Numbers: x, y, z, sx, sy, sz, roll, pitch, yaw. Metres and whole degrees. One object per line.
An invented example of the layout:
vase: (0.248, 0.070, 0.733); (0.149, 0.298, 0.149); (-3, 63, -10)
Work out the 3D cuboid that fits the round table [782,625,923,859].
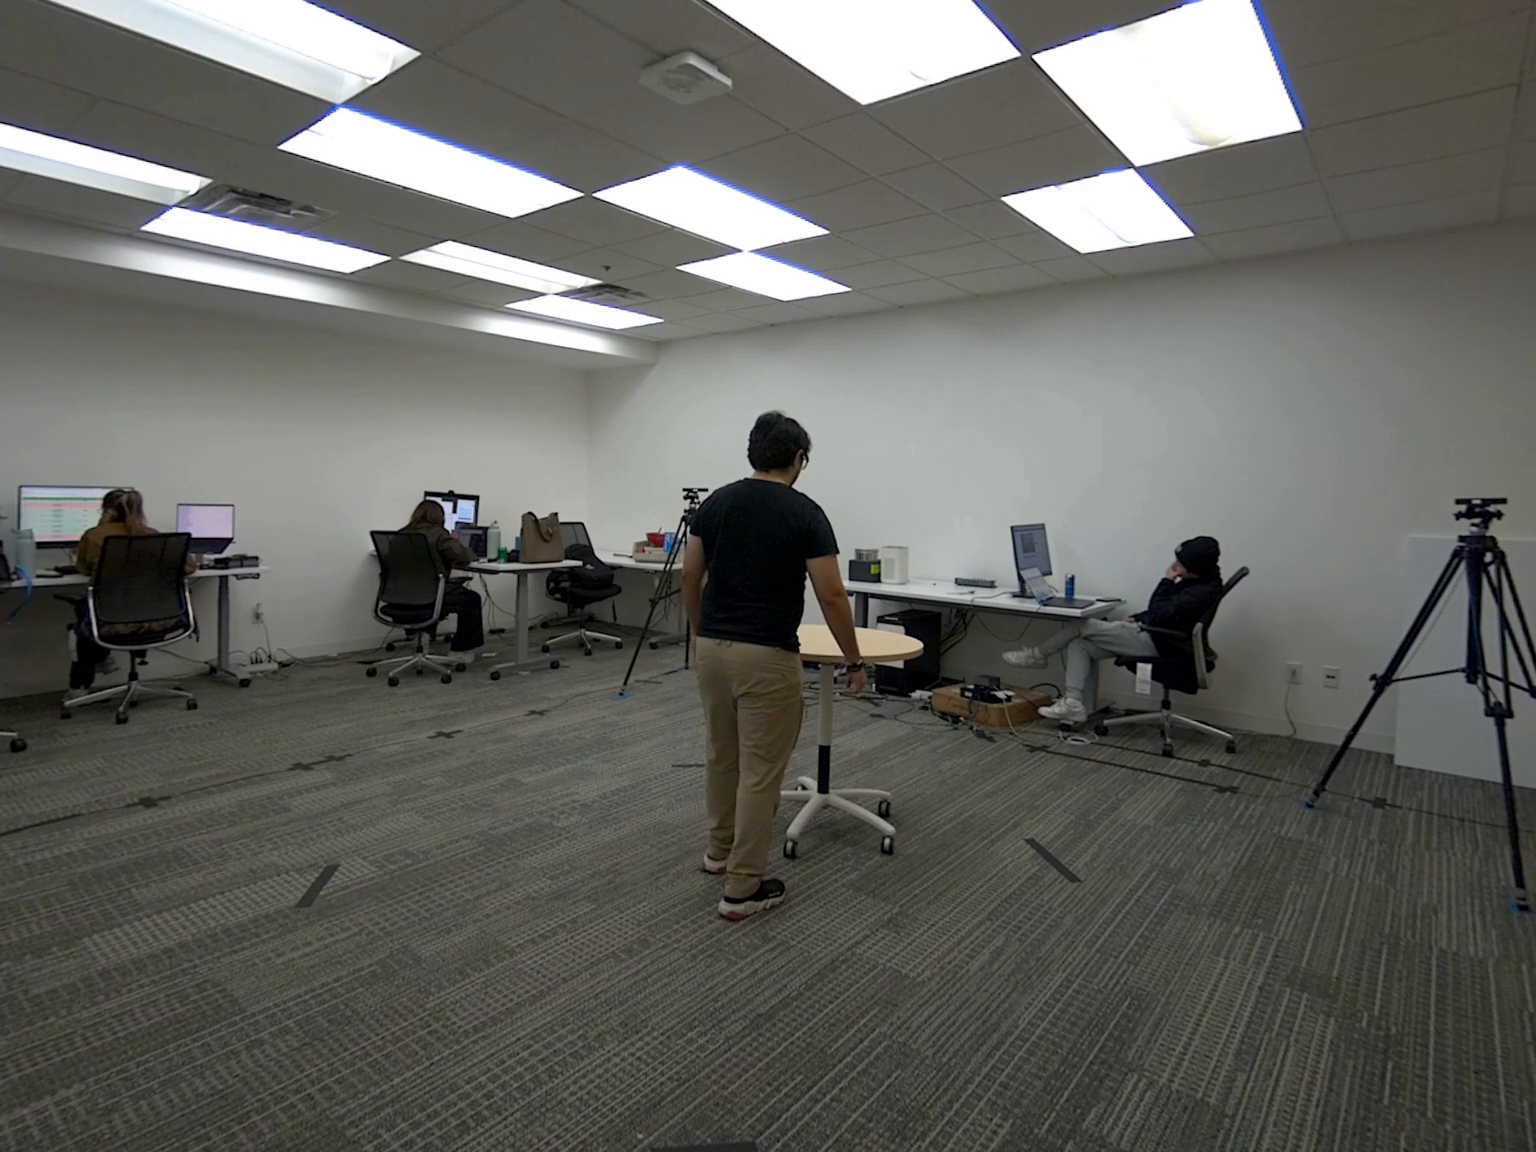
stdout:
round table: (0.212, 0.642, 3.532); (0.784, 0.784, 0.789); (2, 4, -2)
